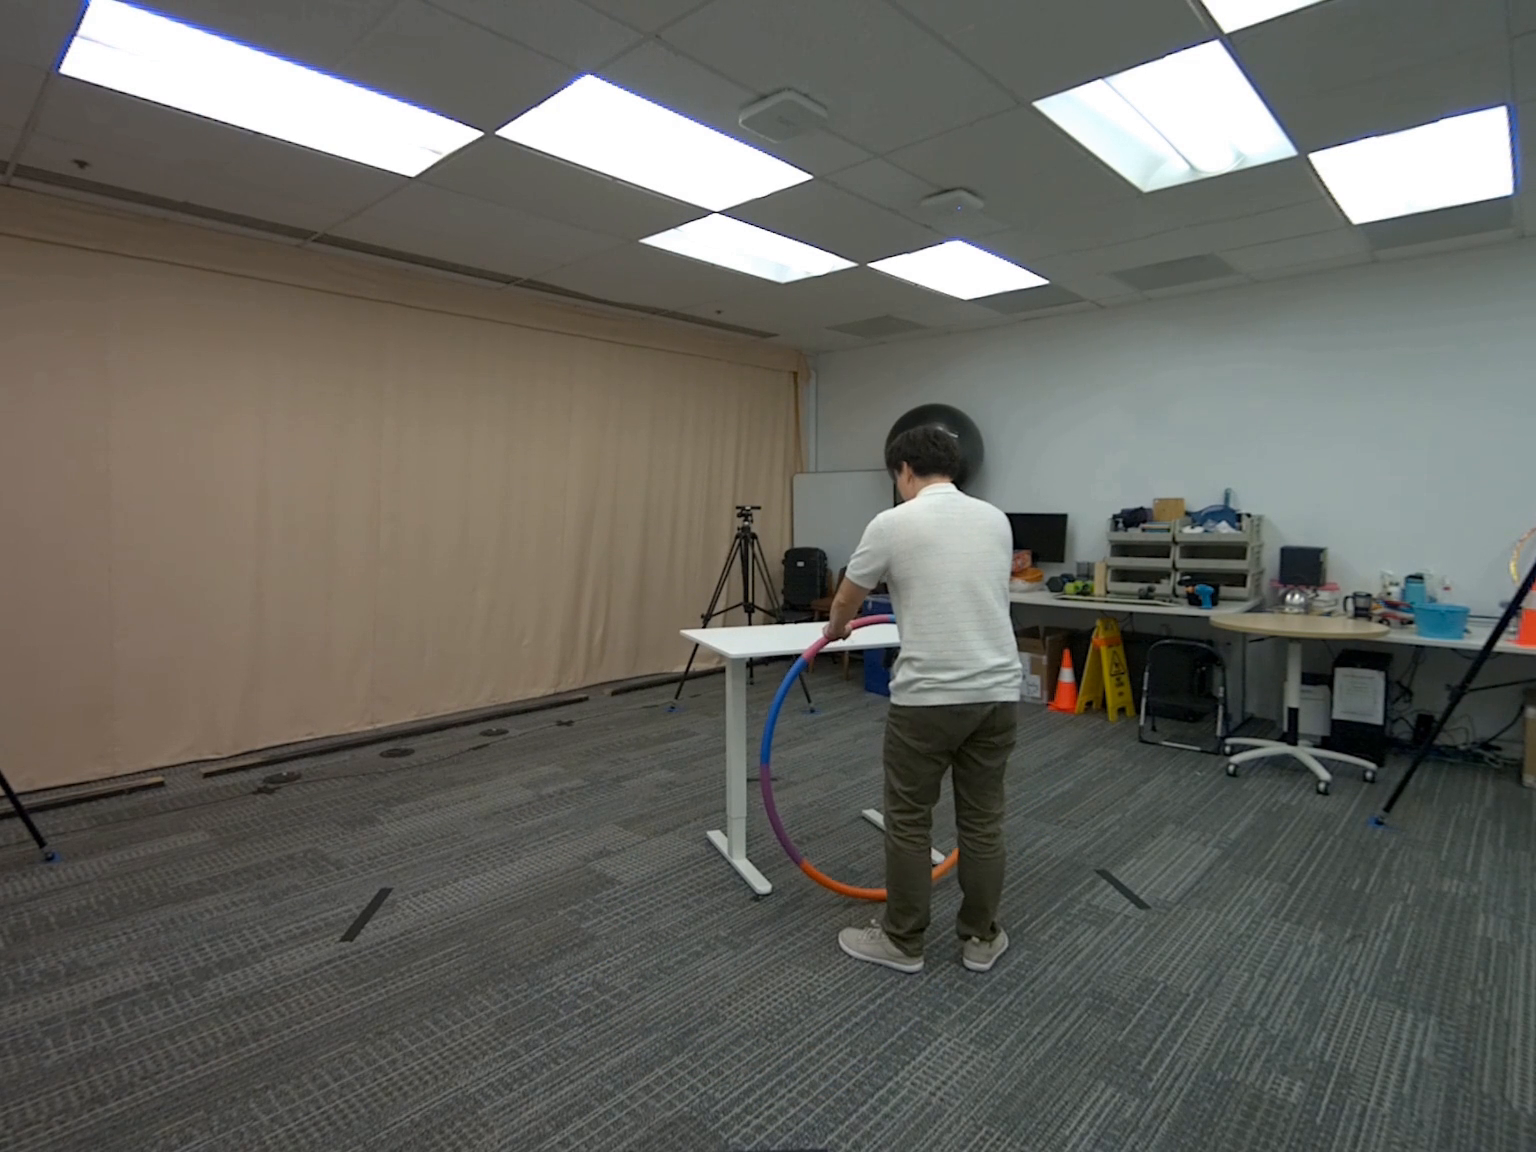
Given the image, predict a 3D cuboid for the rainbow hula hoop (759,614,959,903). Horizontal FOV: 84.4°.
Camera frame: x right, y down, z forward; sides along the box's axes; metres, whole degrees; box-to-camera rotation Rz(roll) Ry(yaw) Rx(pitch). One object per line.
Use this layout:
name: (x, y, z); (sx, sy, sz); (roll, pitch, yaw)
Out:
rainbow hula hoop: (0.427, 0.644, 2.986); (0.958, 0.979, 0.036); (-1, -1, -20)
